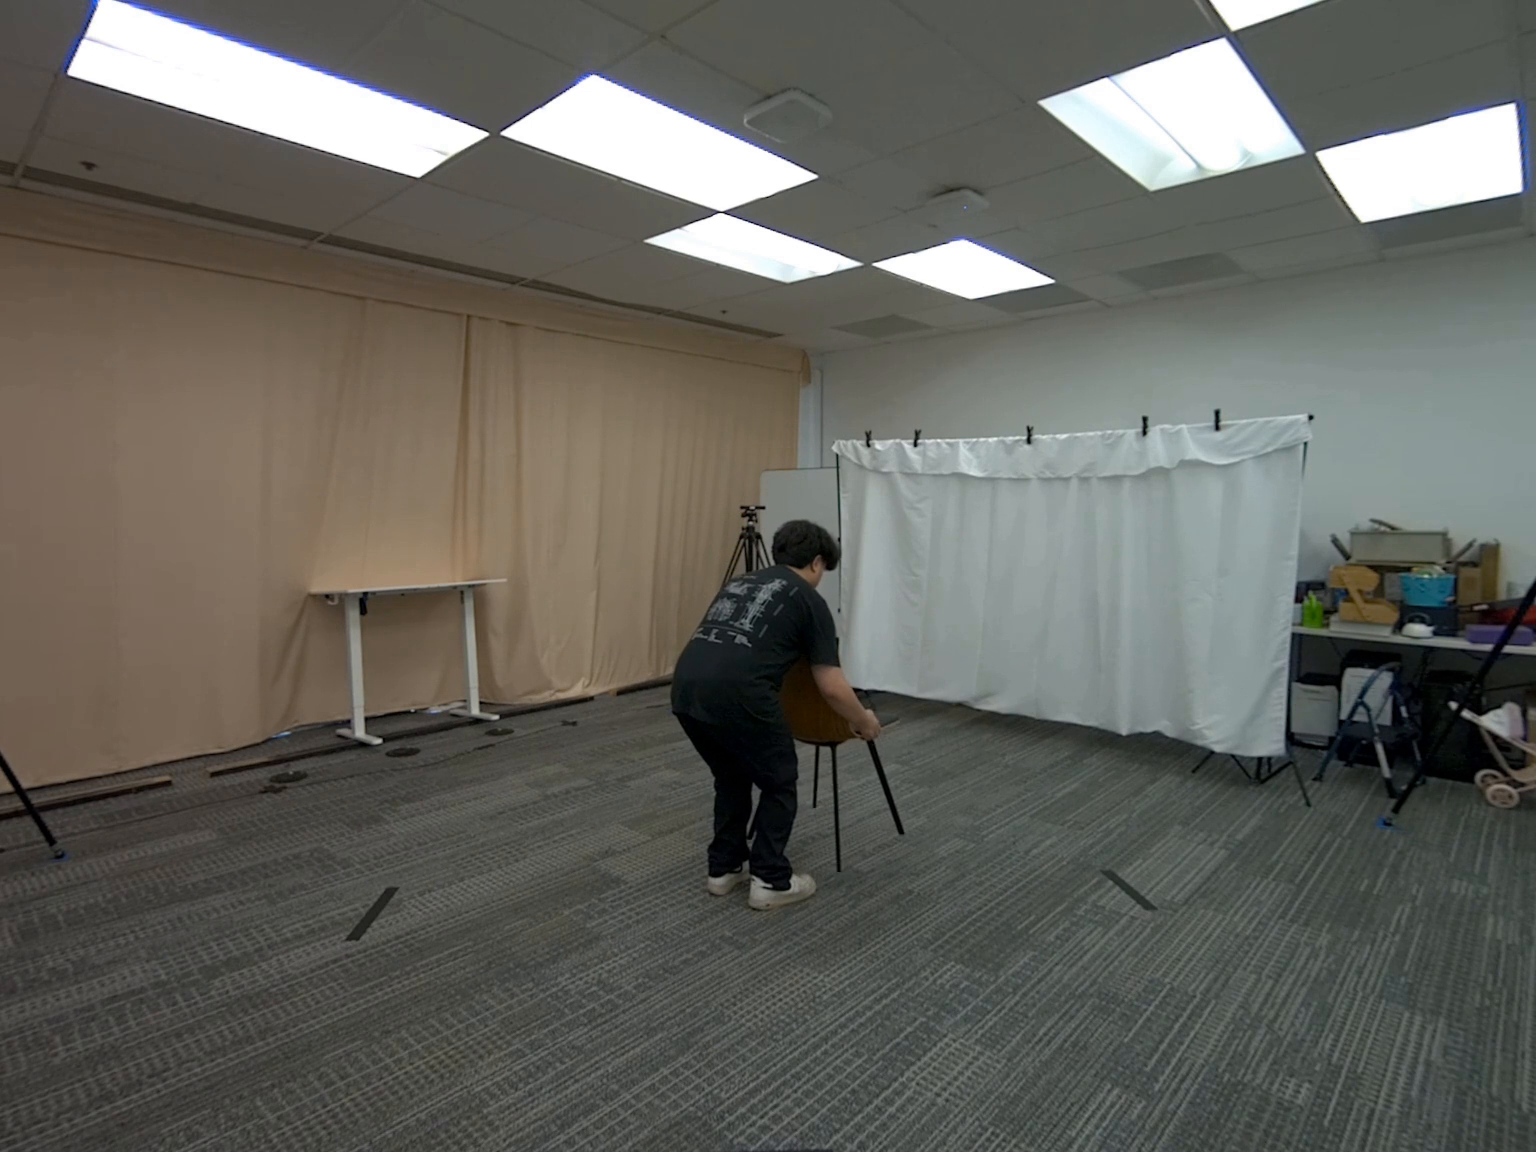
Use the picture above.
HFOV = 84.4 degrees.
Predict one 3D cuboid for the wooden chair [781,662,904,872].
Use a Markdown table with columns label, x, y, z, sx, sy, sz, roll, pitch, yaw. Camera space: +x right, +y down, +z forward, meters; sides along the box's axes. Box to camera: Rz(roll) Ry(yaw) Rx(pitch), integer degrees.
| label | x | y | z | sx | sy | sz | roll | pitch | yaw |
| --- | --- | --- | --- | --- | --- | --- | --- | --- | --- |
| wooden chair | 0.231 | 0.621 | 3.342 | 0.494 | 0.872 | 0.509 | 3 | 11 | 41 |
